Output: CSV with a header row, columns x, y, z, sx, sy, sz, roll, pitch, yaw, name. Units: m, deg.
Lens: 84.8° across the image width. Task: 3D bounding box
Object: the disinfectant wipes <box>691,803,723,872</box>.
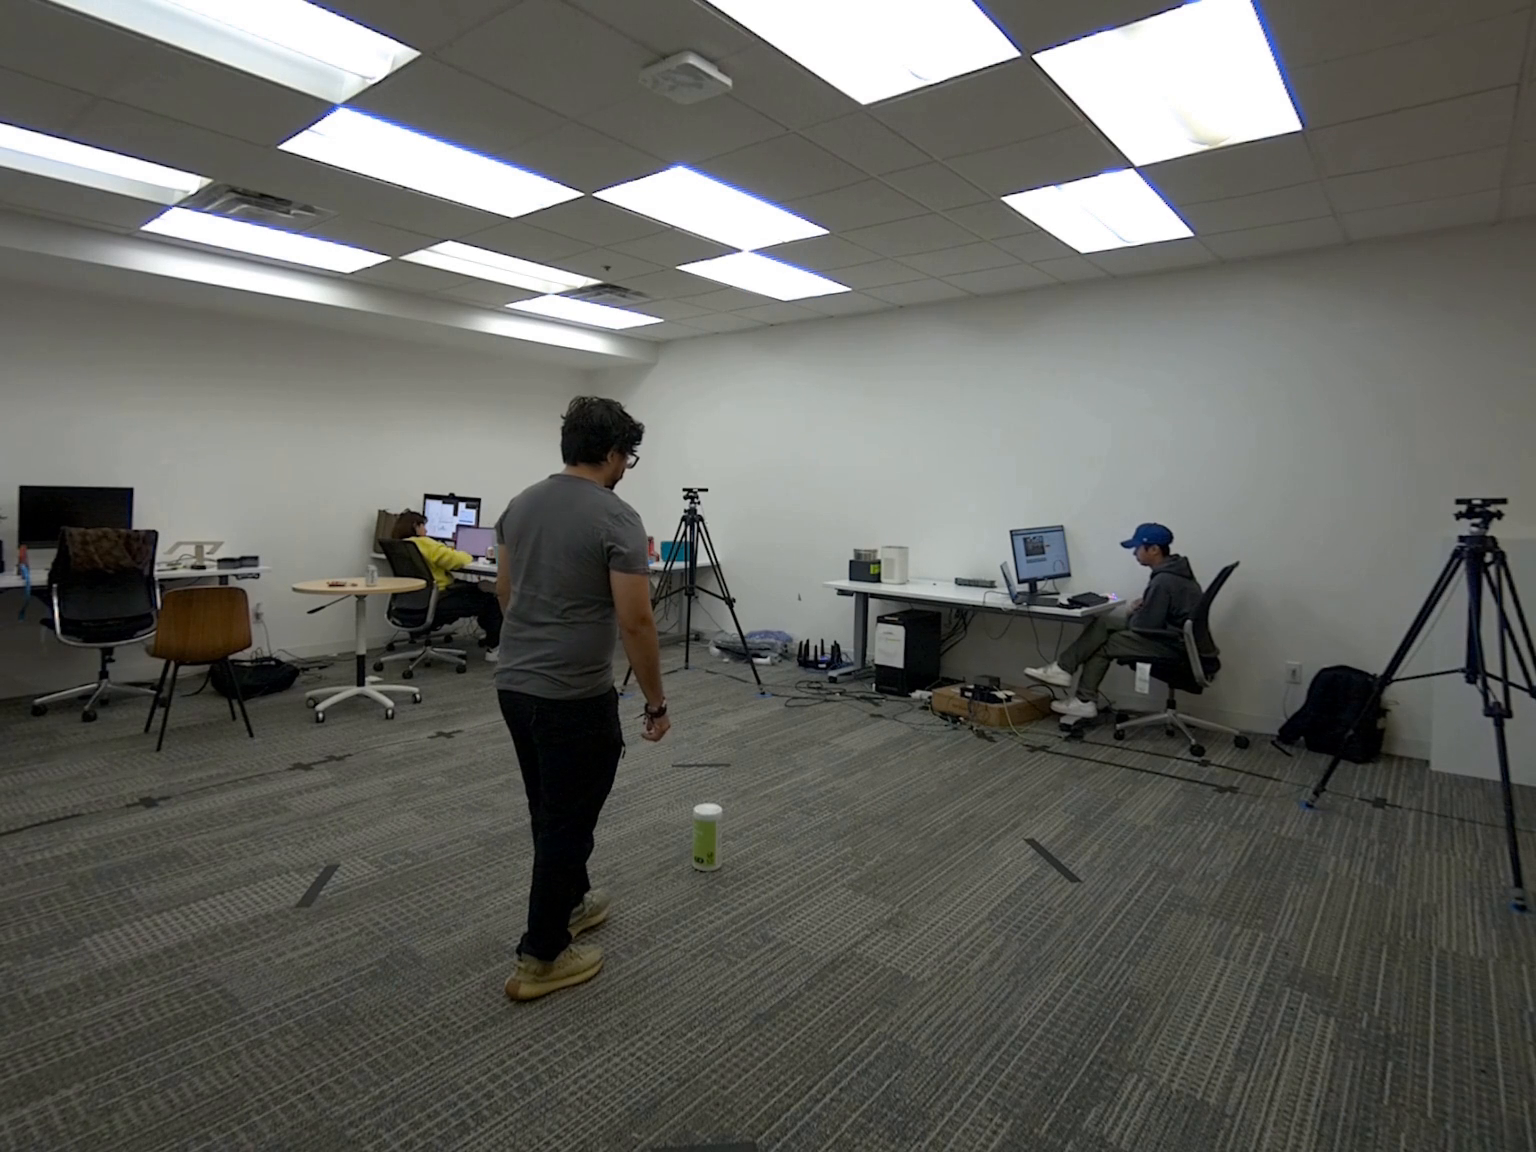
x,y,z,sx,sy,sz,roll,pitch,yaw,name
-0.231,0.957,3.138,0.118,0.217,0.118,1,3,-2,disinfectant wipes
